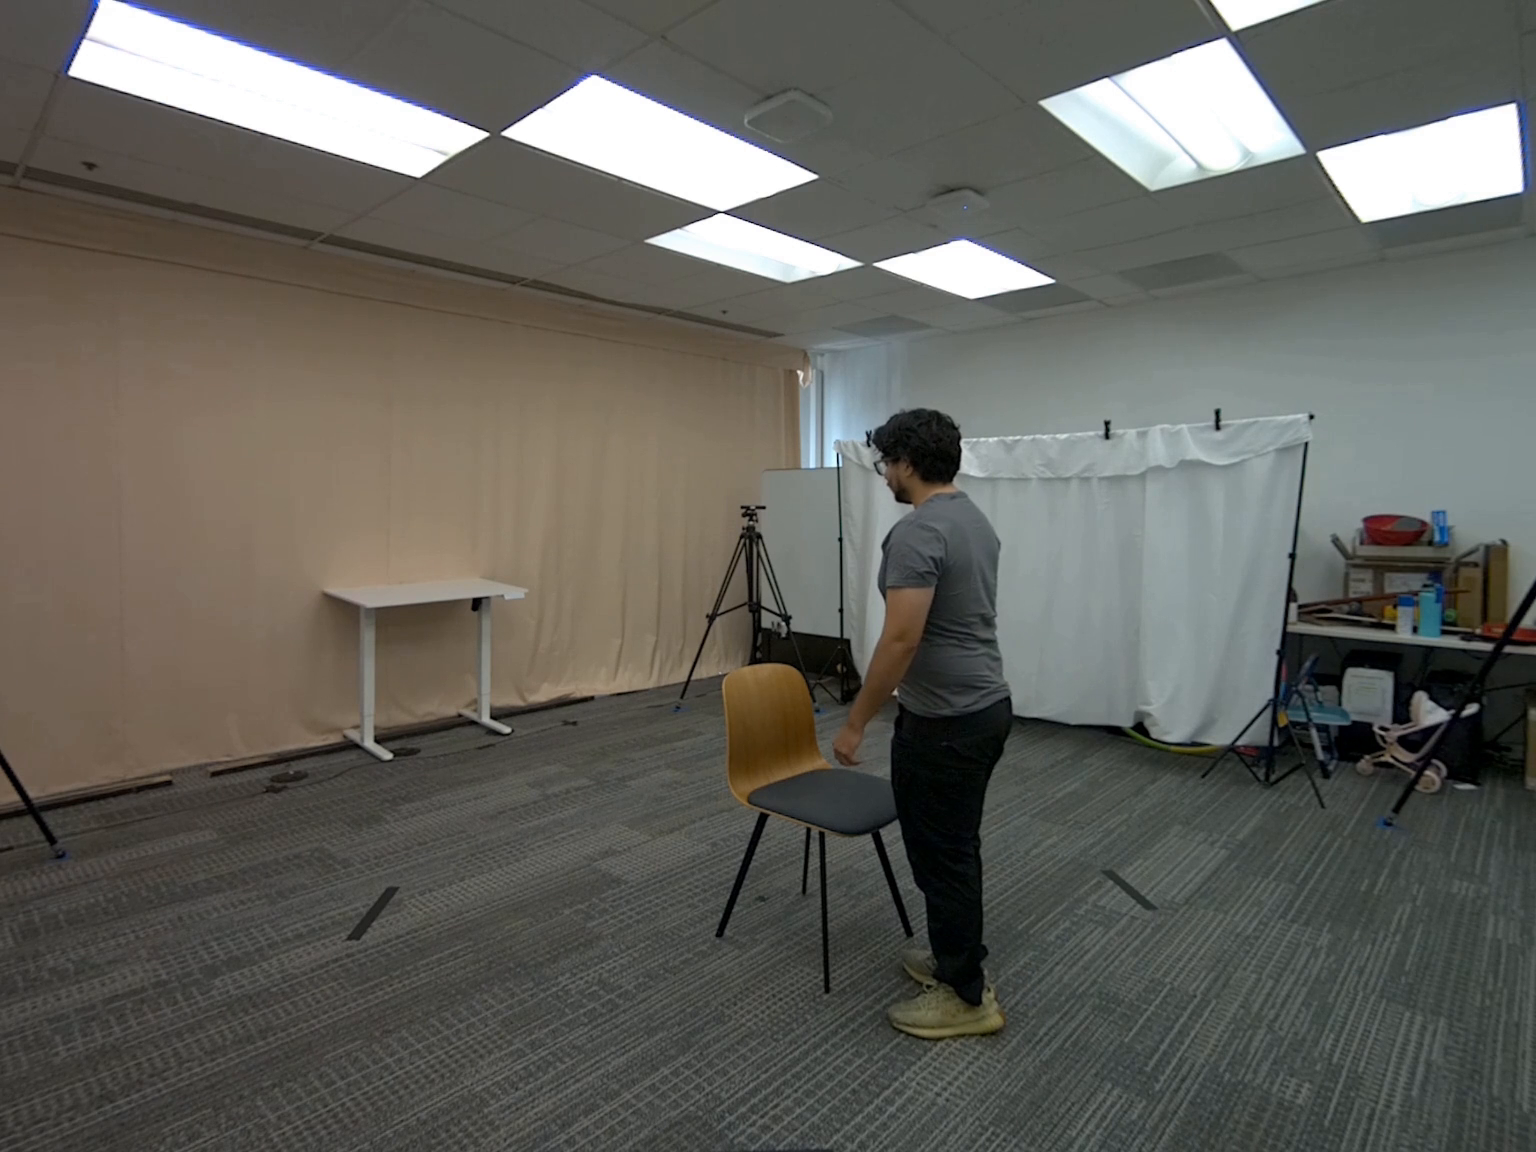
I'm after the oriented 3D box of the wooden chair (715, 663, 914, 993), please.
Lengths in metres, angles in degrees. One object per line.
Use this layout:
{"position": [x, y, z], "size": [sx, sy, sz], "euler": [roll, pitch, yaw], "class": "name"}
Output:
{"position": [0.157, 0.743, 2.686], "size": [0.539, 0.877, 0.463], "euler": [-3, 1, 43], "class": "wooden chair"}
